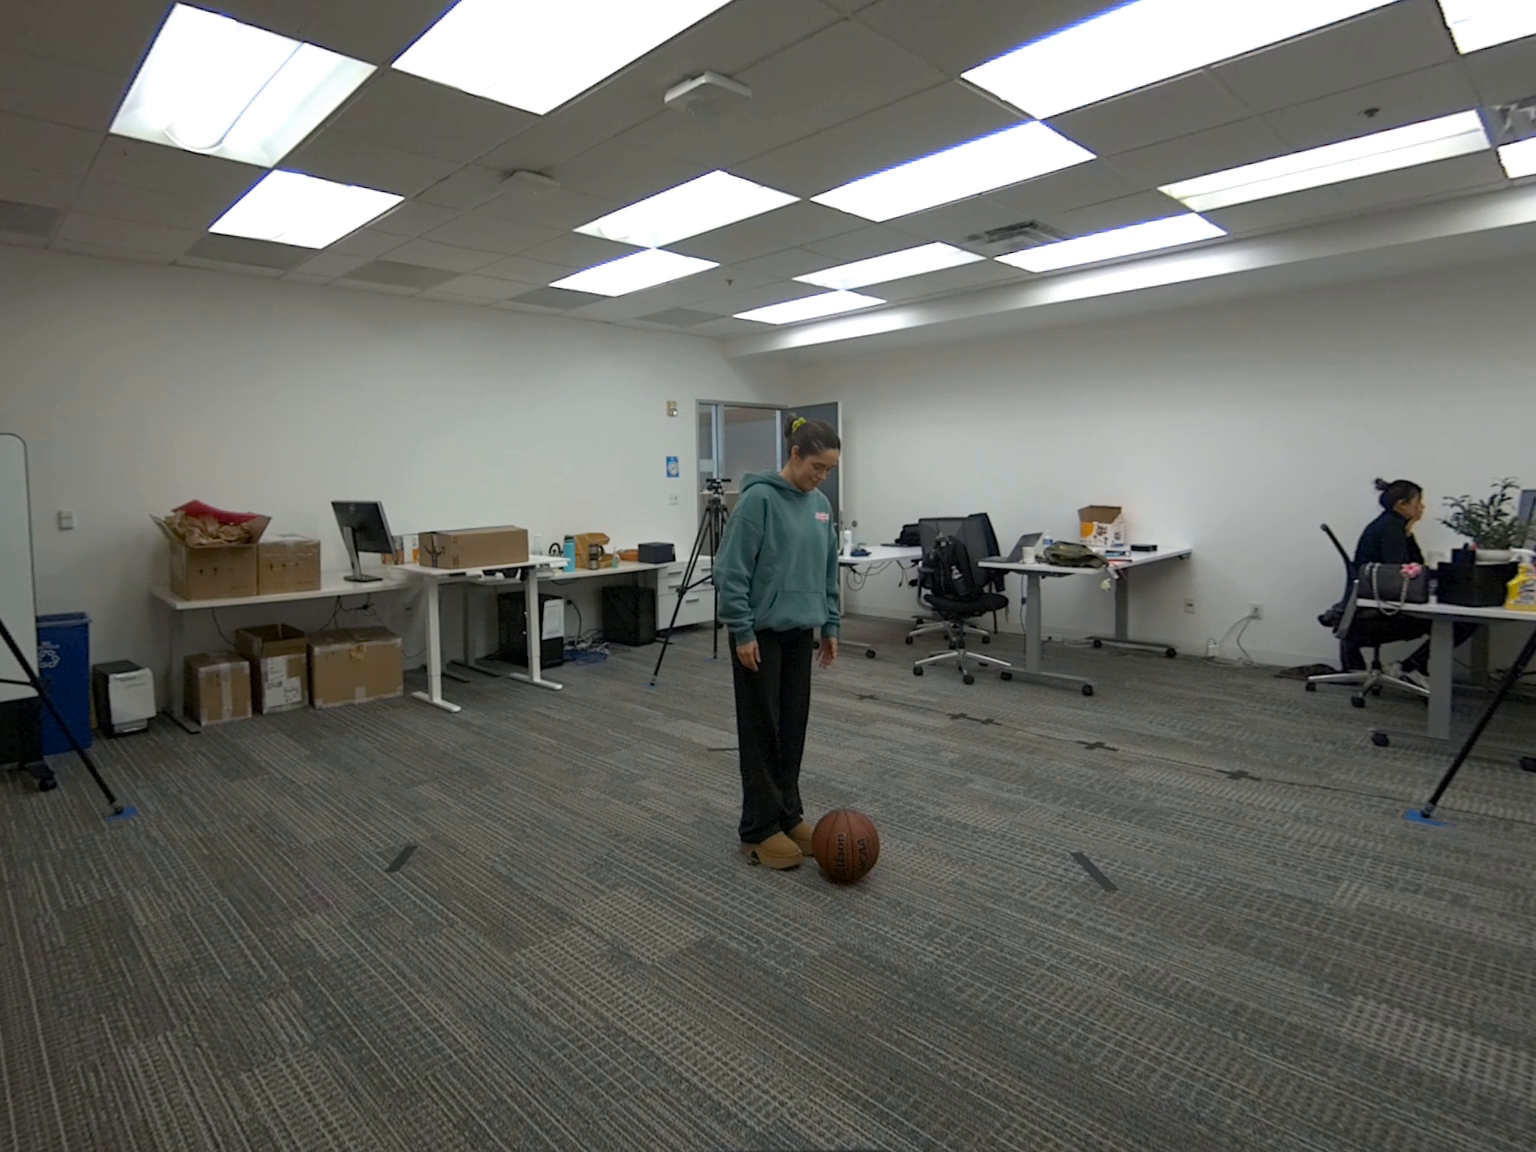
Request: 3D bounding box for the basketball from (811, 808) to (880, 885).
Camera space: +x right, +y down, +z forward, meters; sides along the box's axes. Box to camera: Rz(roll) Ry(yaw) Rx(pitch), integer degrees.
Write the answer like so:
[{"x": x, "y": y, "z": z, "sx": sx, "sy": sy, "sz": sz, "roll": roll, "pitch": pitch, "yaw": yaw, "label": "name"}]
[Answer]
[{"x": 0.276, "y": 0.932, "z": 2.983, "sx": 0.236, "sy": 0.235, "sz": 0.237, "roll": -1, "pitch": 5, "yaw": -2, "label": "basketball"}]
